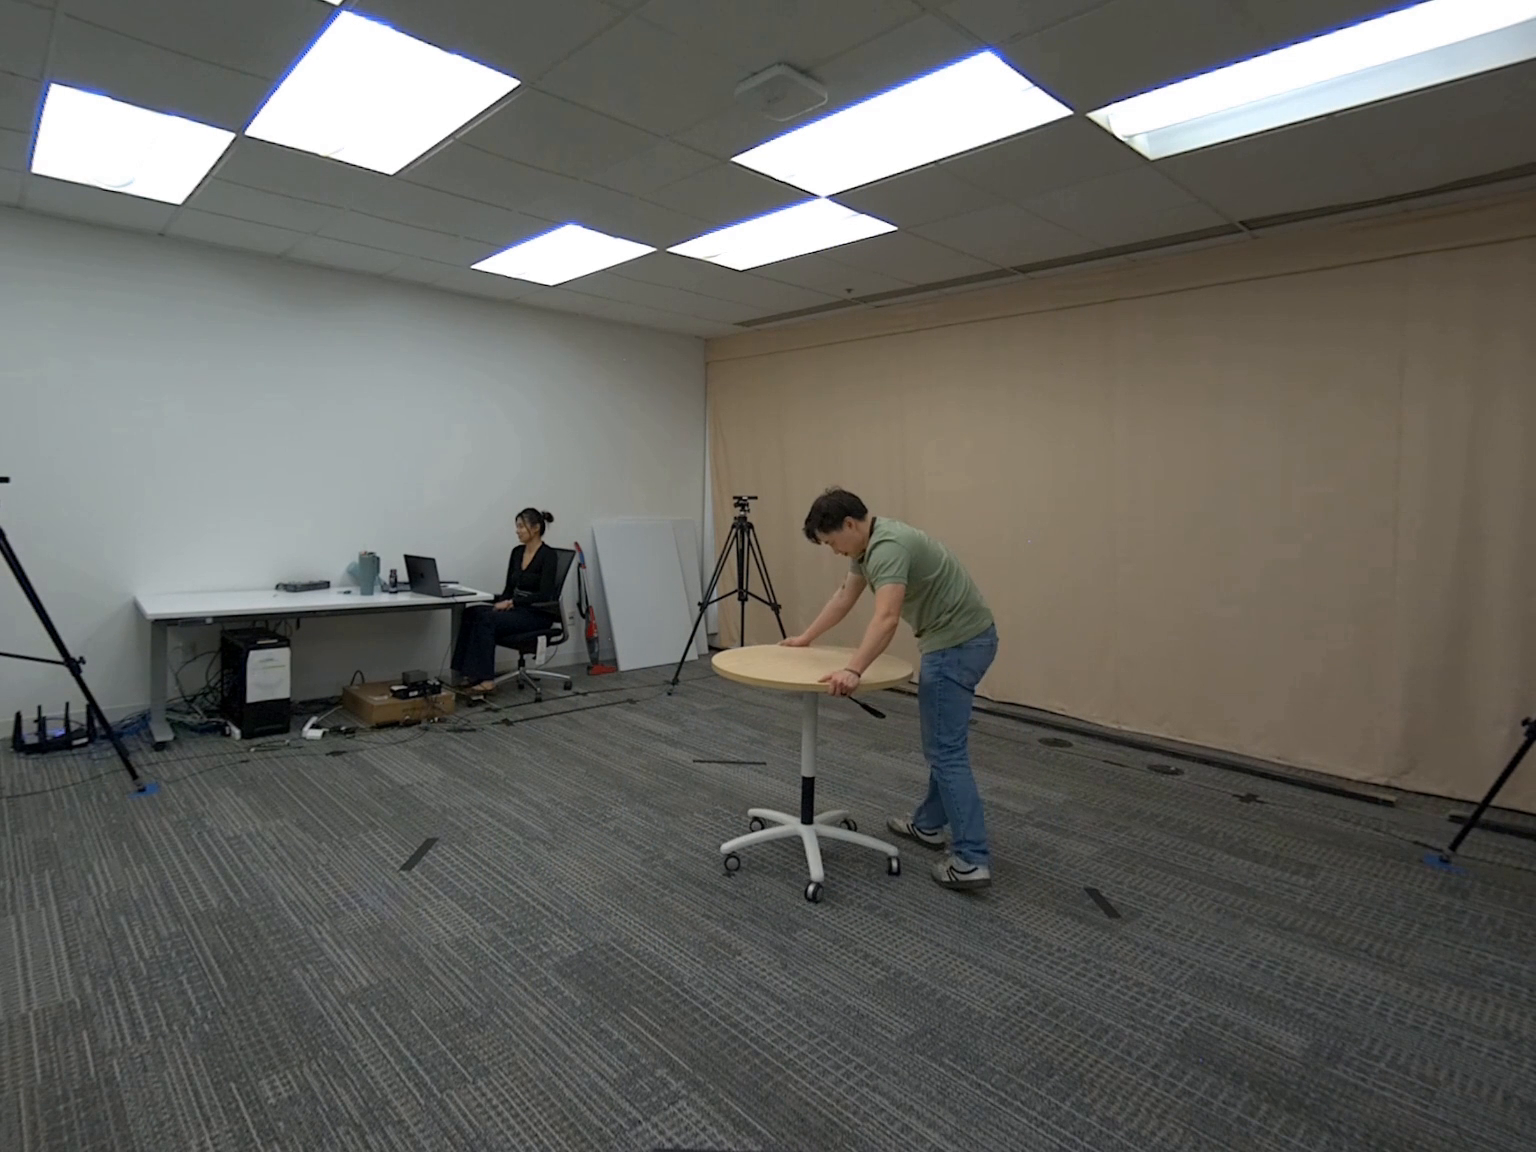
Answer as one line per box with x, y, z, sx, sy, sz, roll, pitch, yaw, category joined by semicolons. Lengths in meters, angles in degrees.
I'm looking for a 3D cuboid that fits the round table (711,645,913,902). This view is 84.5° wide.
0.151;0.715;3.240;0.763;0.792;0.766;2;4;-1;round table
